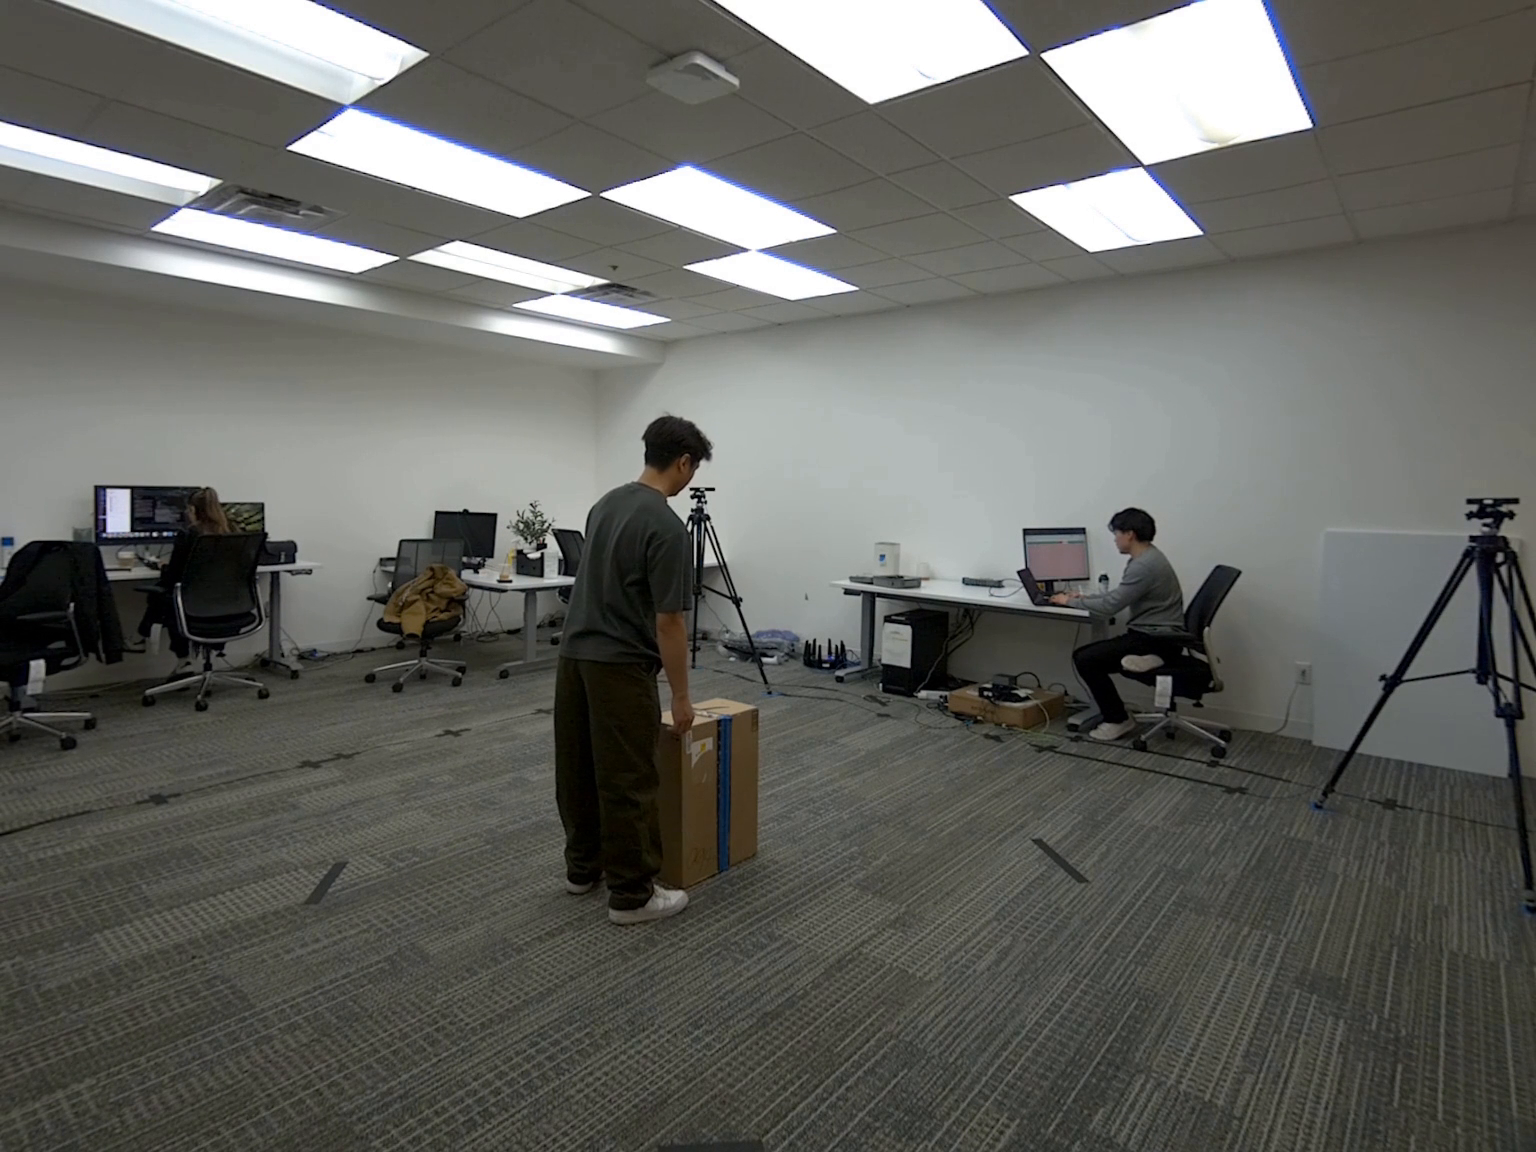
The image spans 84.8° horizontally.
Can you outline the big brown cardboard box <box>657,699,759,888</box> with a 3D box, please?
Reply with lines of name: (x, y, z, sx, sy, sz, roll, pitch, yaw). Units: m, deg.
big brown cardboard box: (-0.254, 0.775, 3.140, 0.241, 0.586, 0.405, 4, 6, 40)
